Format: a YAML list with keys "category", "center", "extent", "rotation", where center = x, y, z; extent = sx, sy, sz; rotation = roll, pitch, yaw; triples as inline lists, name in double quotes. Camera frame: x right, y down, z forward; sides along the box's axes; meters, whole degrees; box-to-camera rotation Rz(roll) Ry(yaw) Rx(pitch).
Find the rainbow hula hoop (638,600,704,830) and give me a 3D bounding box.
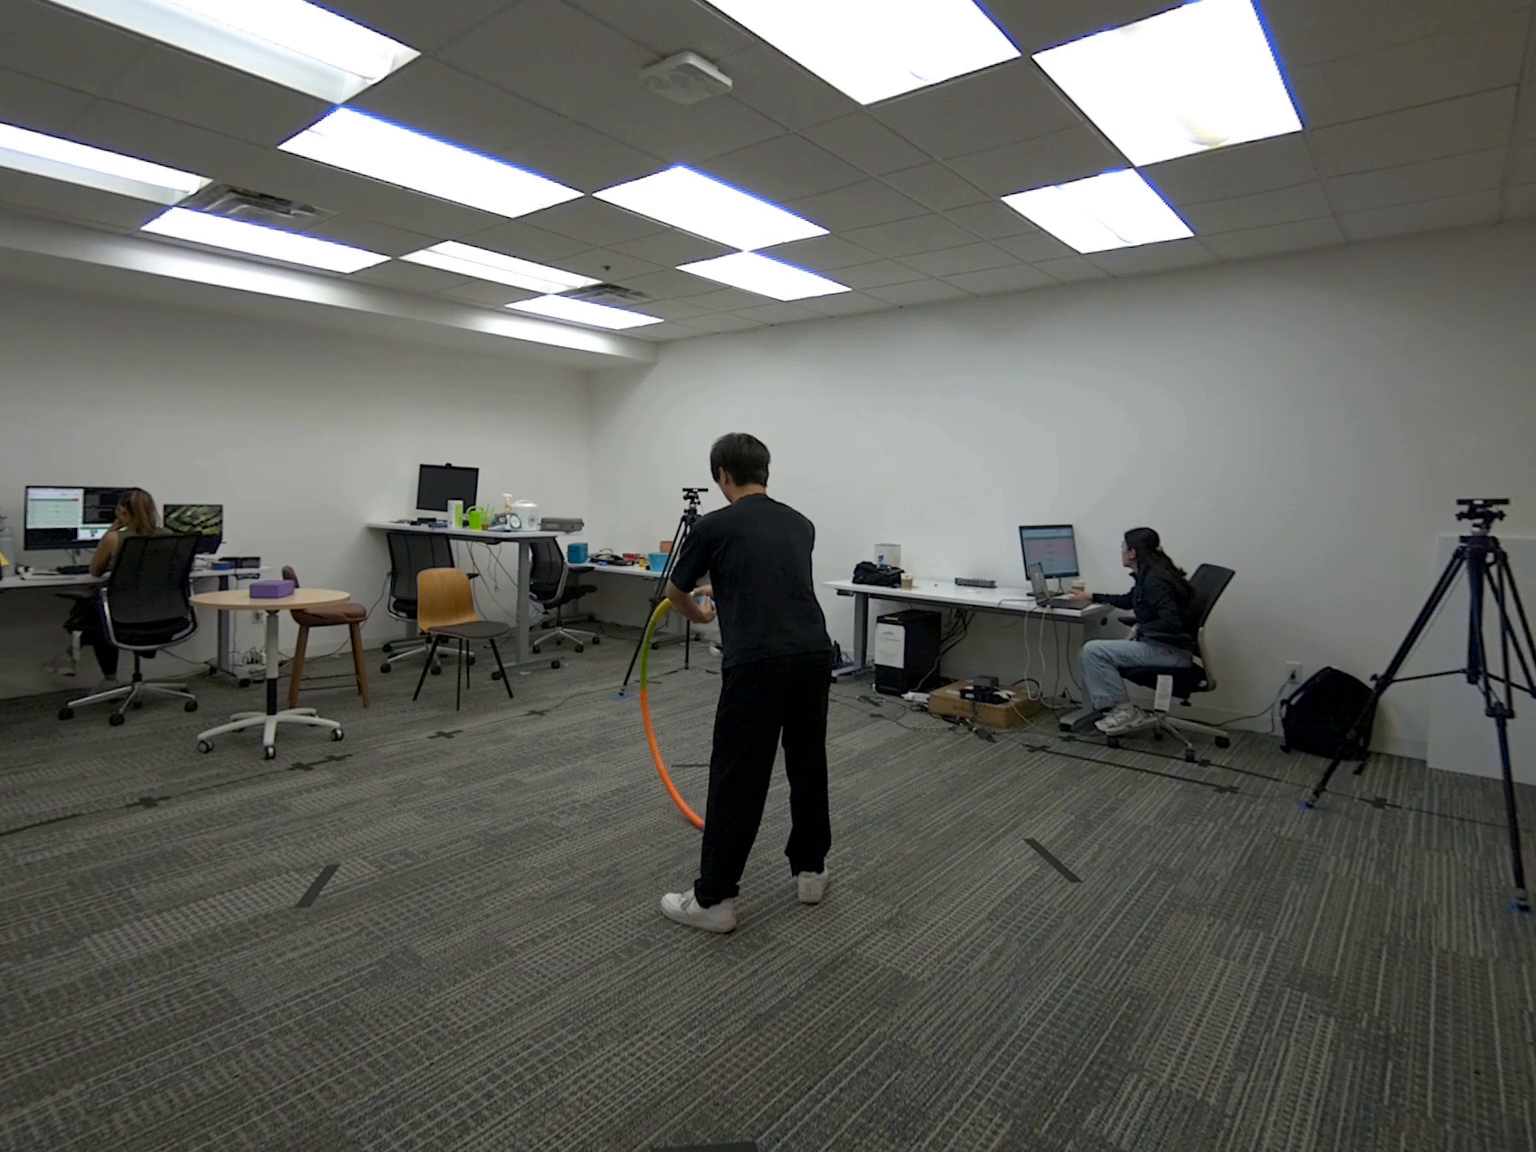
- category: "rainbow hula hoop"
  center: [-0.298, 0.549, 3.437]
  extent: [0.034, 0.973, 1.010]
  rotation: [-5, 7, -34]
